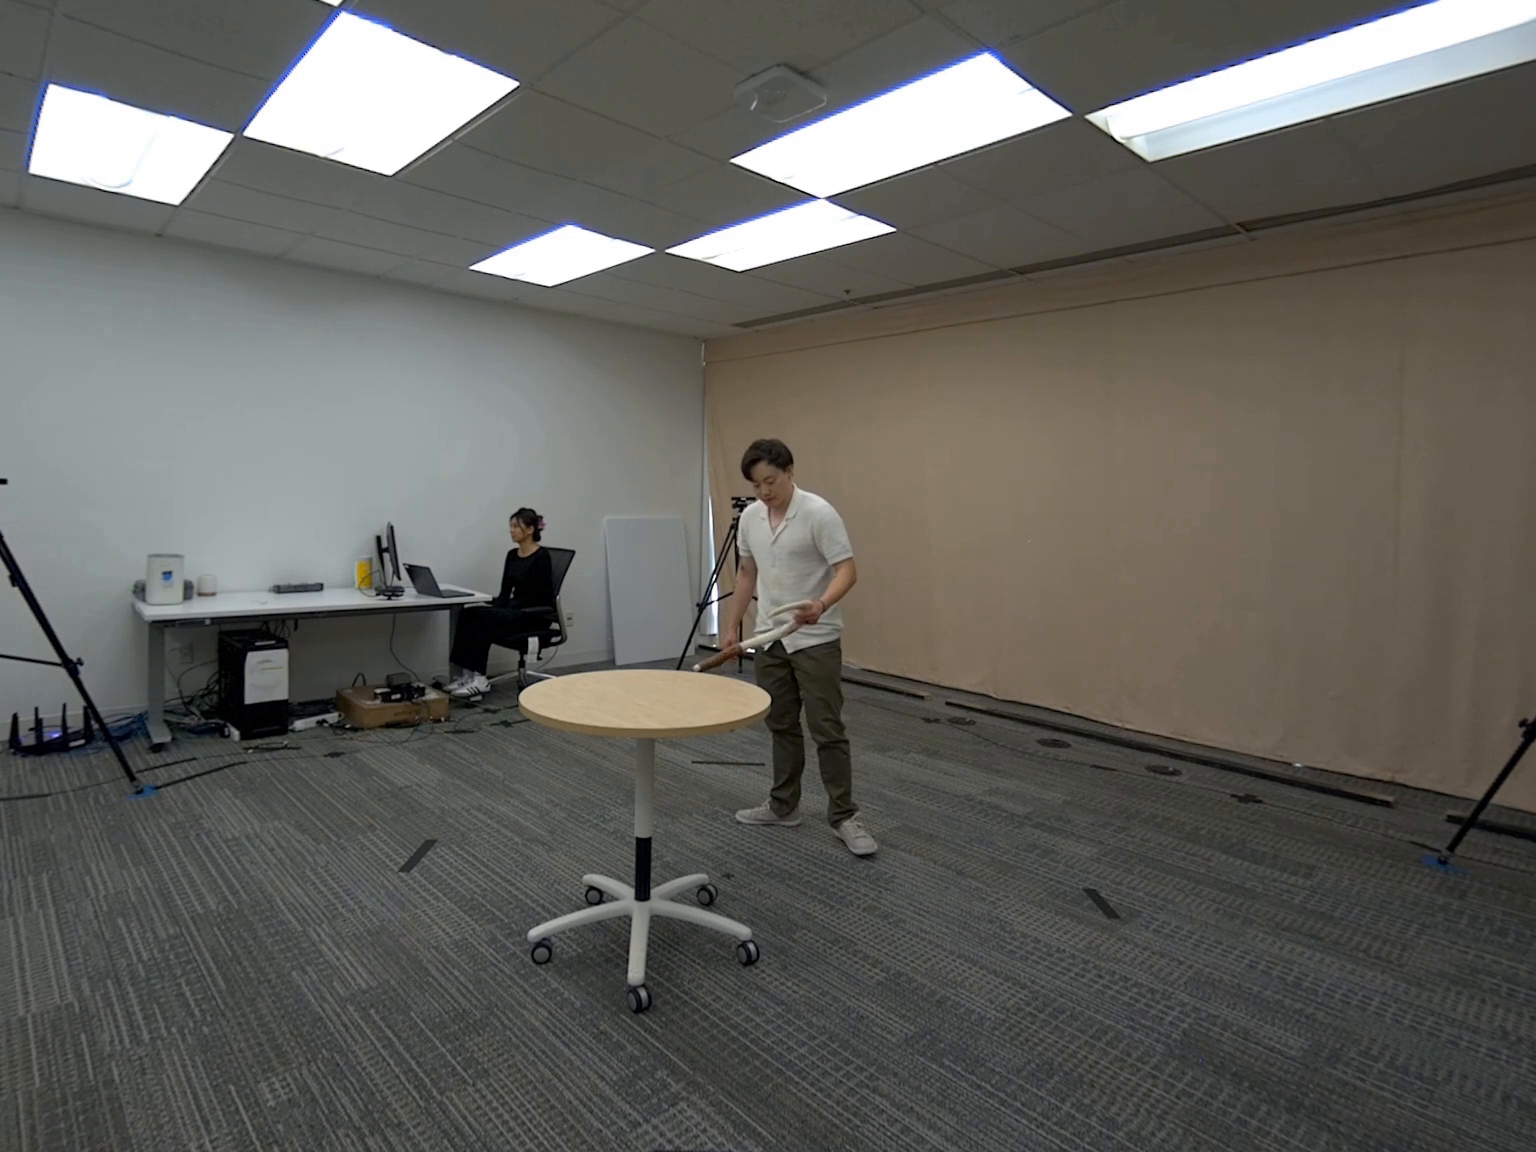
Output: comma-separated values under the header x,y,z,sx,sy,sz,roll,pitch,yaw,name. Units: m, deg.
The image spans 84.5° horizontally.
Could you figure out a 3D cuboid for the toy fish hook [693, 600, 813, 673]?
x,y,z,sx,sy,sz,roll,pitch,yaw,name
-0.062,0.226,3.109,0.504,0.050,0.219,-26,-32,-13,toy fish hook
